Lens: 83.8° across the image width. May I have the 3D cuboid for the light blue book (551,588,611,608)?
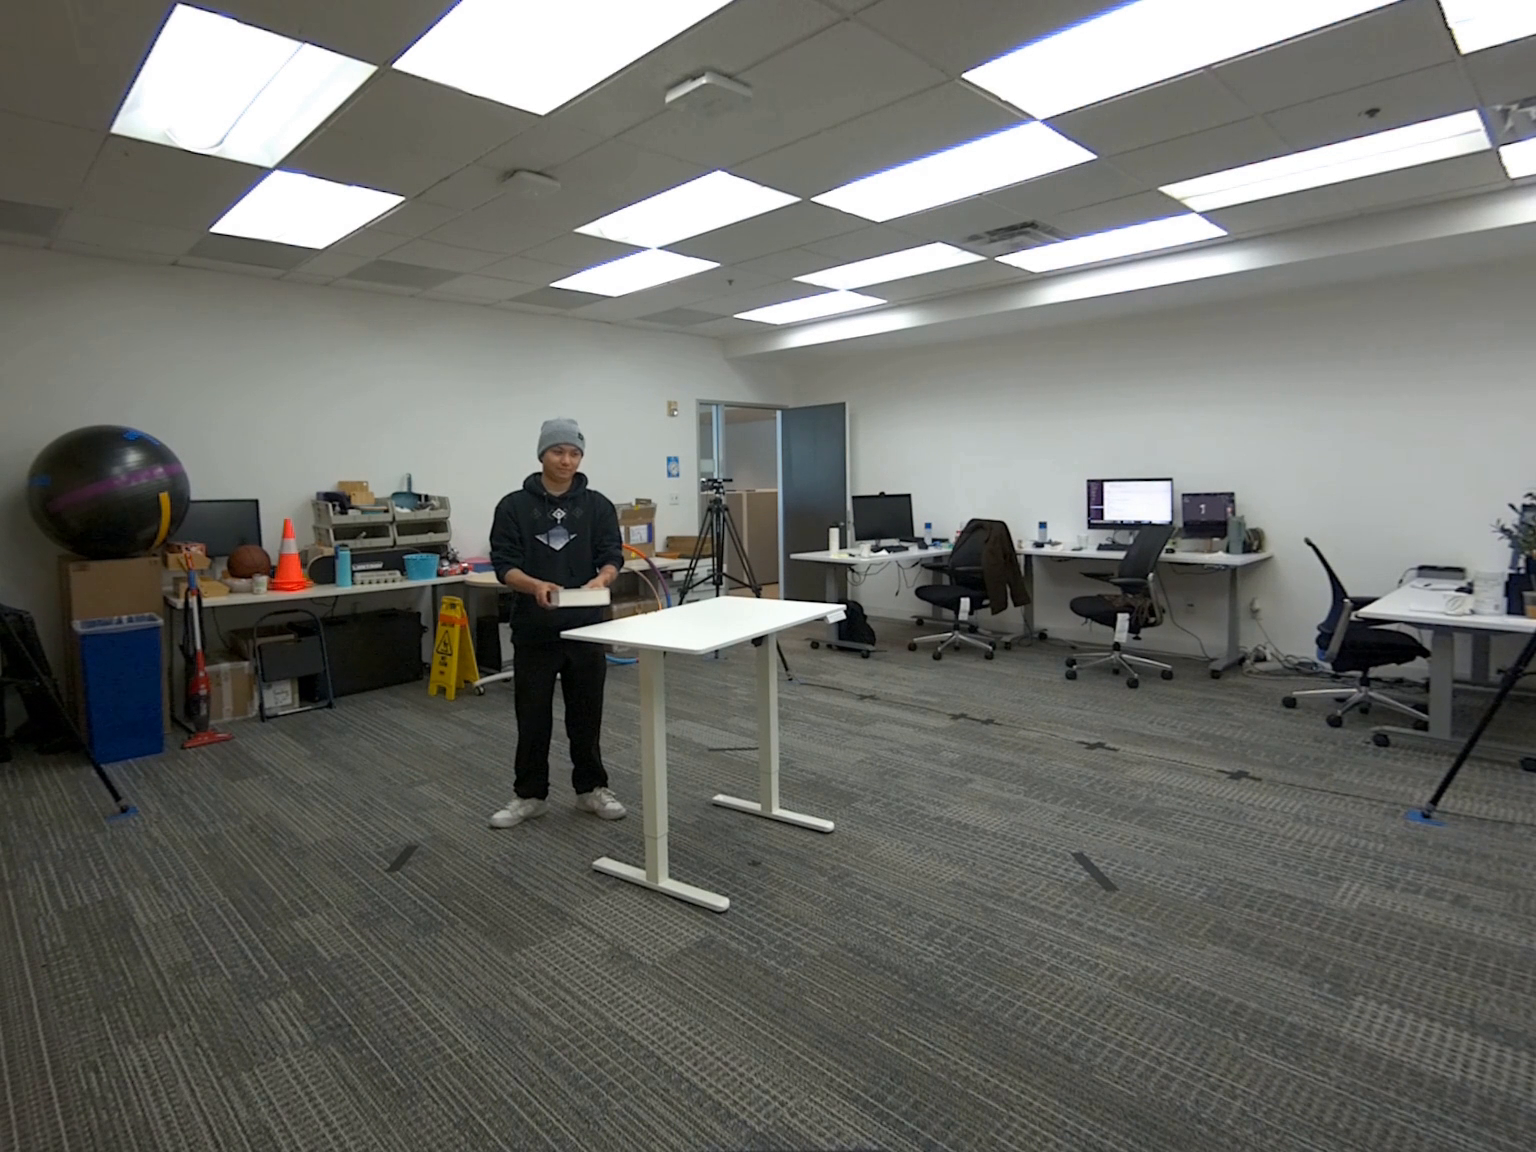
[{"bbox_3d":[-0.714,0.082,3.181,0.189,0.059,0.264,-2,0,-15],"label":"light blue book"}]
